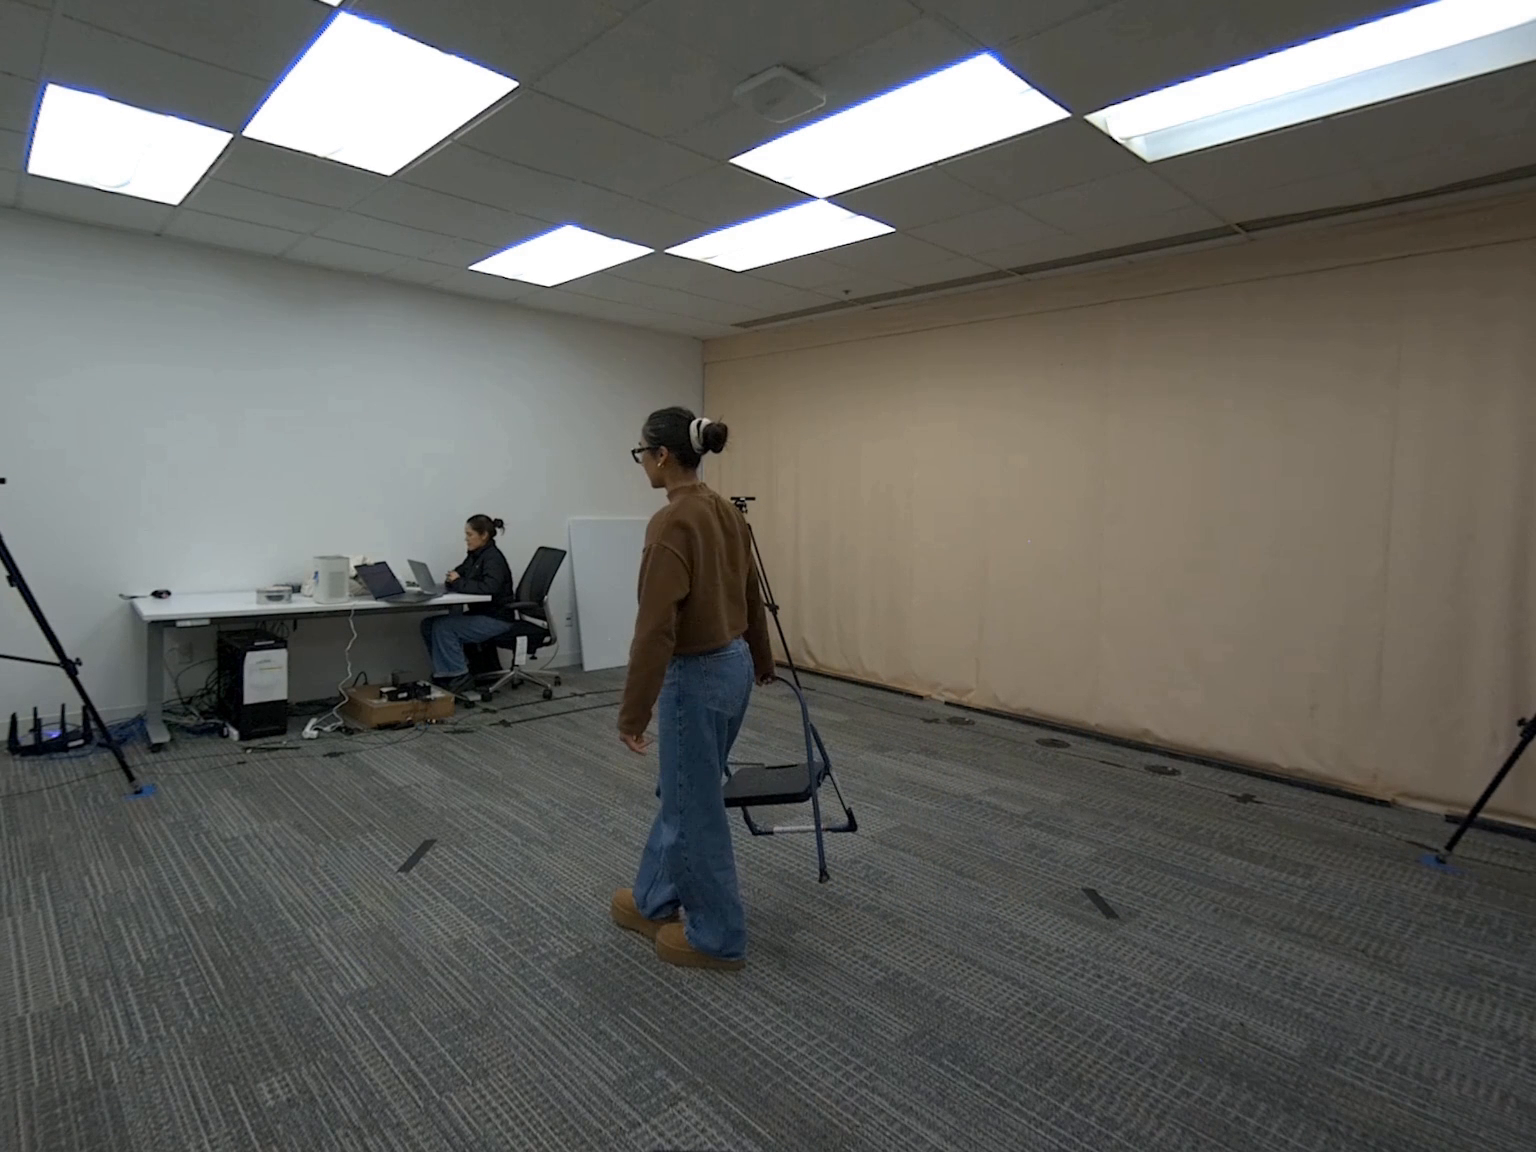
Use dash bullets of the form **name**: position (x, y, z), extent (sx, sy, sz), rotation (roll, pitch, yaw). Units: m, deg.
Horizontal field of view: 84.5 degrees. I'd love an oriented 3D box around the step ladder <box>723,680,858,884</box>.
- **step ladder**: position (-0.018, 0.655, 2.806), extent (0.437, 0.604, 0.345), rotation (-12, 5, 27)
